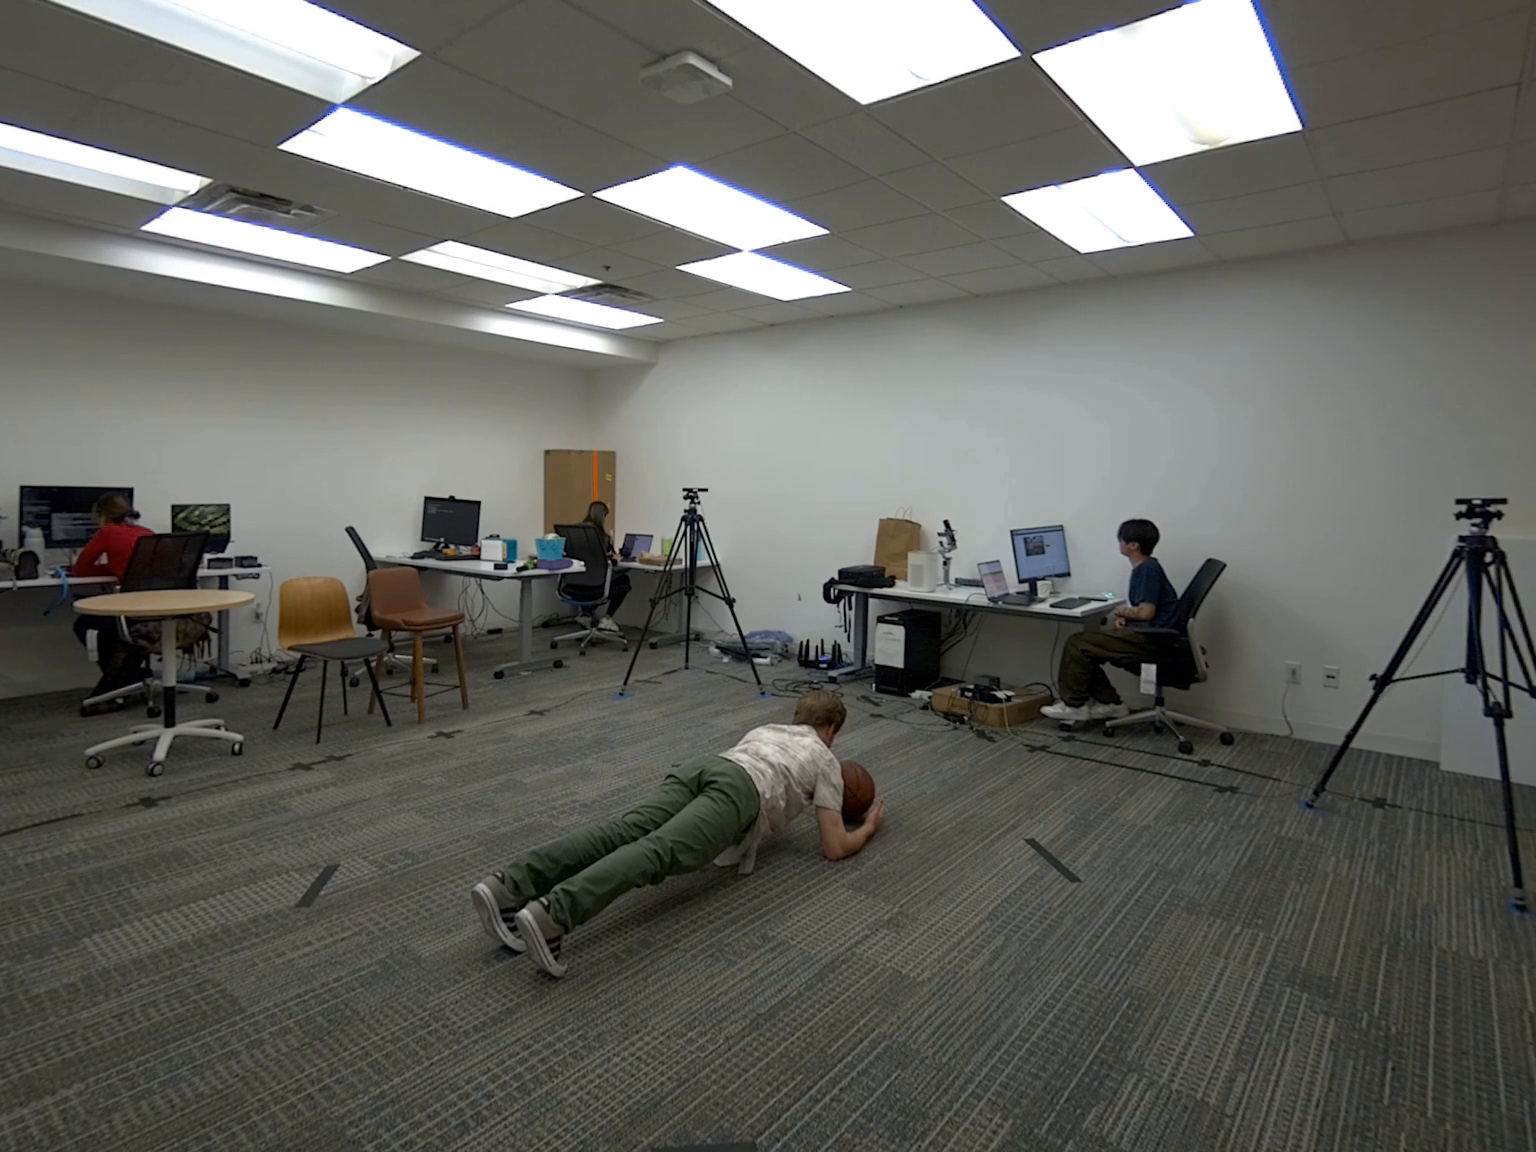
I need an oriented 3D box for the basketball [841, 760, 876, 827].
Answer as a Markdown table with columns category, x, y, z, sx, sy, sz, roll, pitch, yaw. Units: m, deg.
| category | x | y | z | sx | sy | sz | roll | pitch | yaw |
| --- | --- | --- | --- | --- | --- | --- | --- | --- | --- |
| basketball | 0.325 | 0.907 | 3.631 | 0.235 | 0.235 | 0.237 | 1 | 4 | -2 |
